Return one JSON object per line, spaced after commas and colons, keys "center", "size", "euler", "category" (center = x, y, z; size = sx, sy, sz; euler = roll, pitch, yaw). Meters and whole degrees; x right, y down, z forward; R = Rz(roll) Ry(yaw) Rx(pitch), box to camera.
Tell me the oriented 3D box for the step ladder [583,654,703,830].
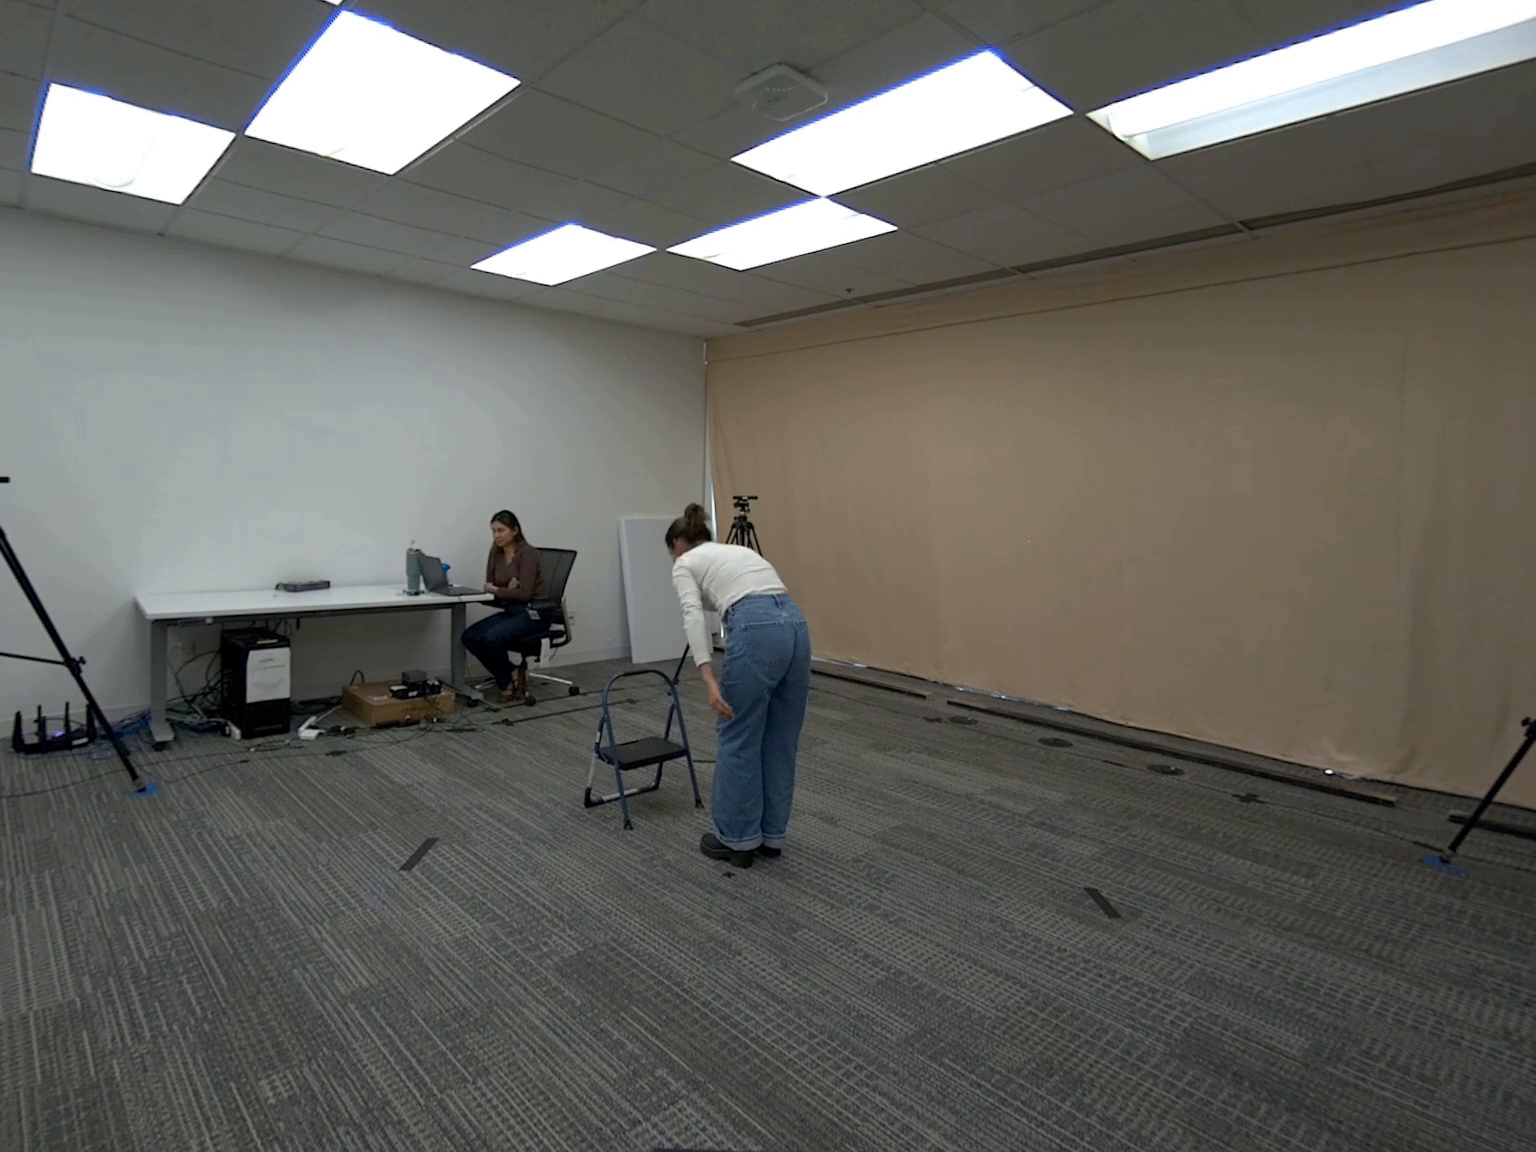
{"center": [-0.555, 0.734, 3.752], "size": [0.358, 0.605, 0.420], "euler": [5, 4, 45], "category": "step ladder"}
